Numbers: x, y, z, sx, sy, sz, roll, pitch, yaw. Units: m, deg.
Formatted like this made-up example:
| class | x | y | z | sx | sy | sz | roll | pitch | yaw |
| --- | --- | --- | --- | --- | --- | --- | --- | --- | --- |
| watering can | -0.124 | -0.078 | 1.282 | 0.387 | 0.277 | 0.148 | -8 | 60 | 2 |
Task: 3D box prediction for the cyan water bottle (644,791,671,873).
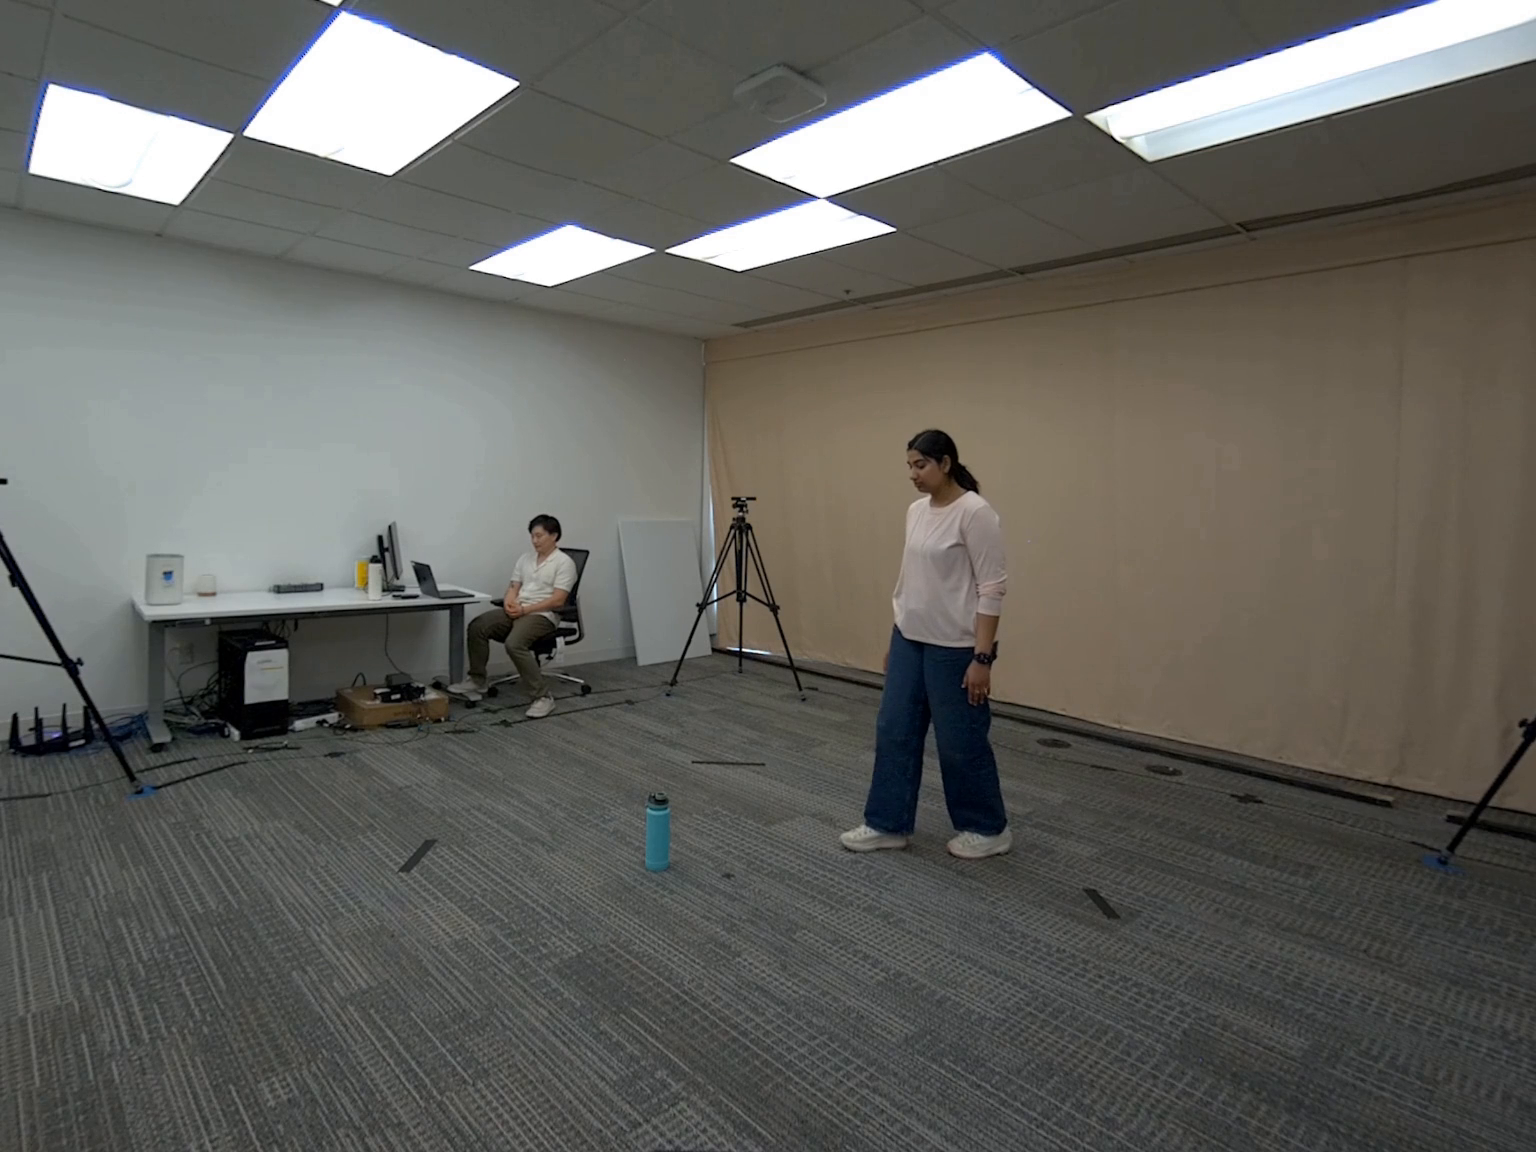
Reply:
| class | x | y | z | sx | sy | sz | roll | pitch | yaw |
| --- | --- | --- | --- | --- | --- | --- | --- | --- | --- |
| cyan water bottle | -0.425 | 0.956 | 3.165 | 0.092 | 0.283 | 0.092 | 1 | 3 | -1 |
